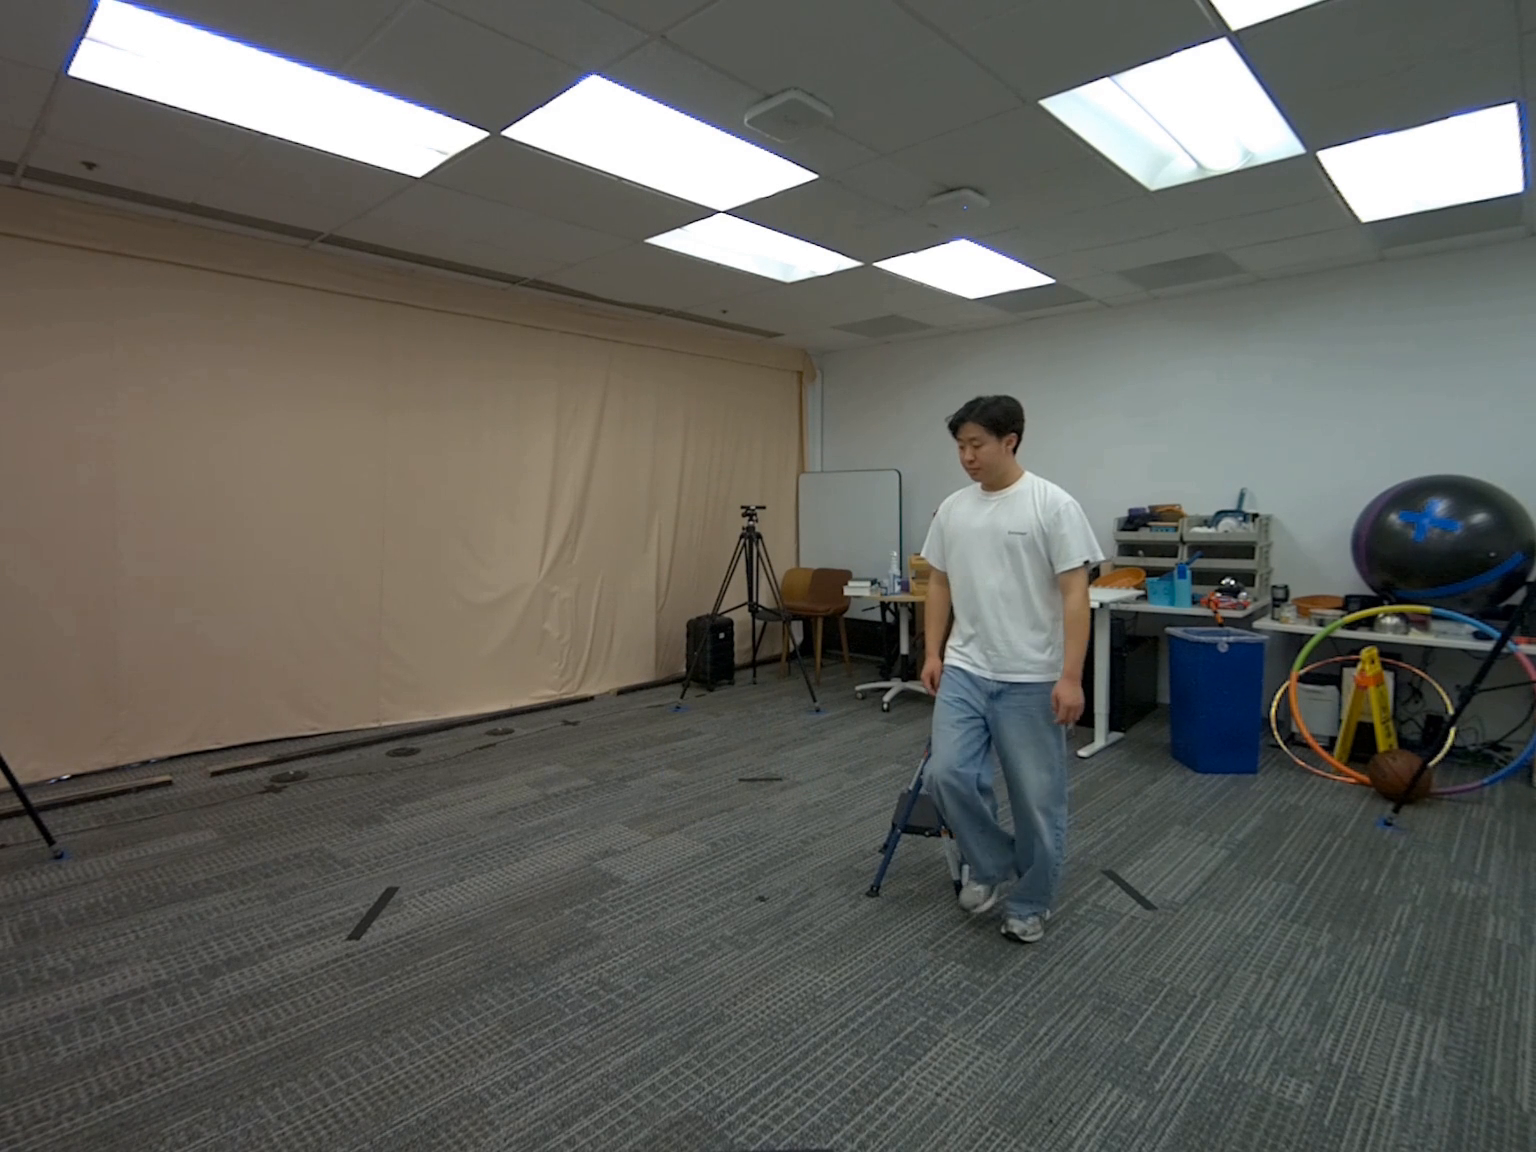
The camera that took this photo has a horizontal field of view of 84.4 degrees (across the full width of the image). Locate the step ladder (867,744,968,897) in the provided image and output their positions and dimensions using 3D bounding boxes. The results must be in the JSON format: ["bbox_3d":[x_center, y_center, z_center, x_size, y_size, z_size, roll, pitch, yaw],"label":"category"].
[{"bbox_3d":[0.575,0.830,3.137,0.355,0.605,0.424,1,2,15],"label":"step ladder"}]
